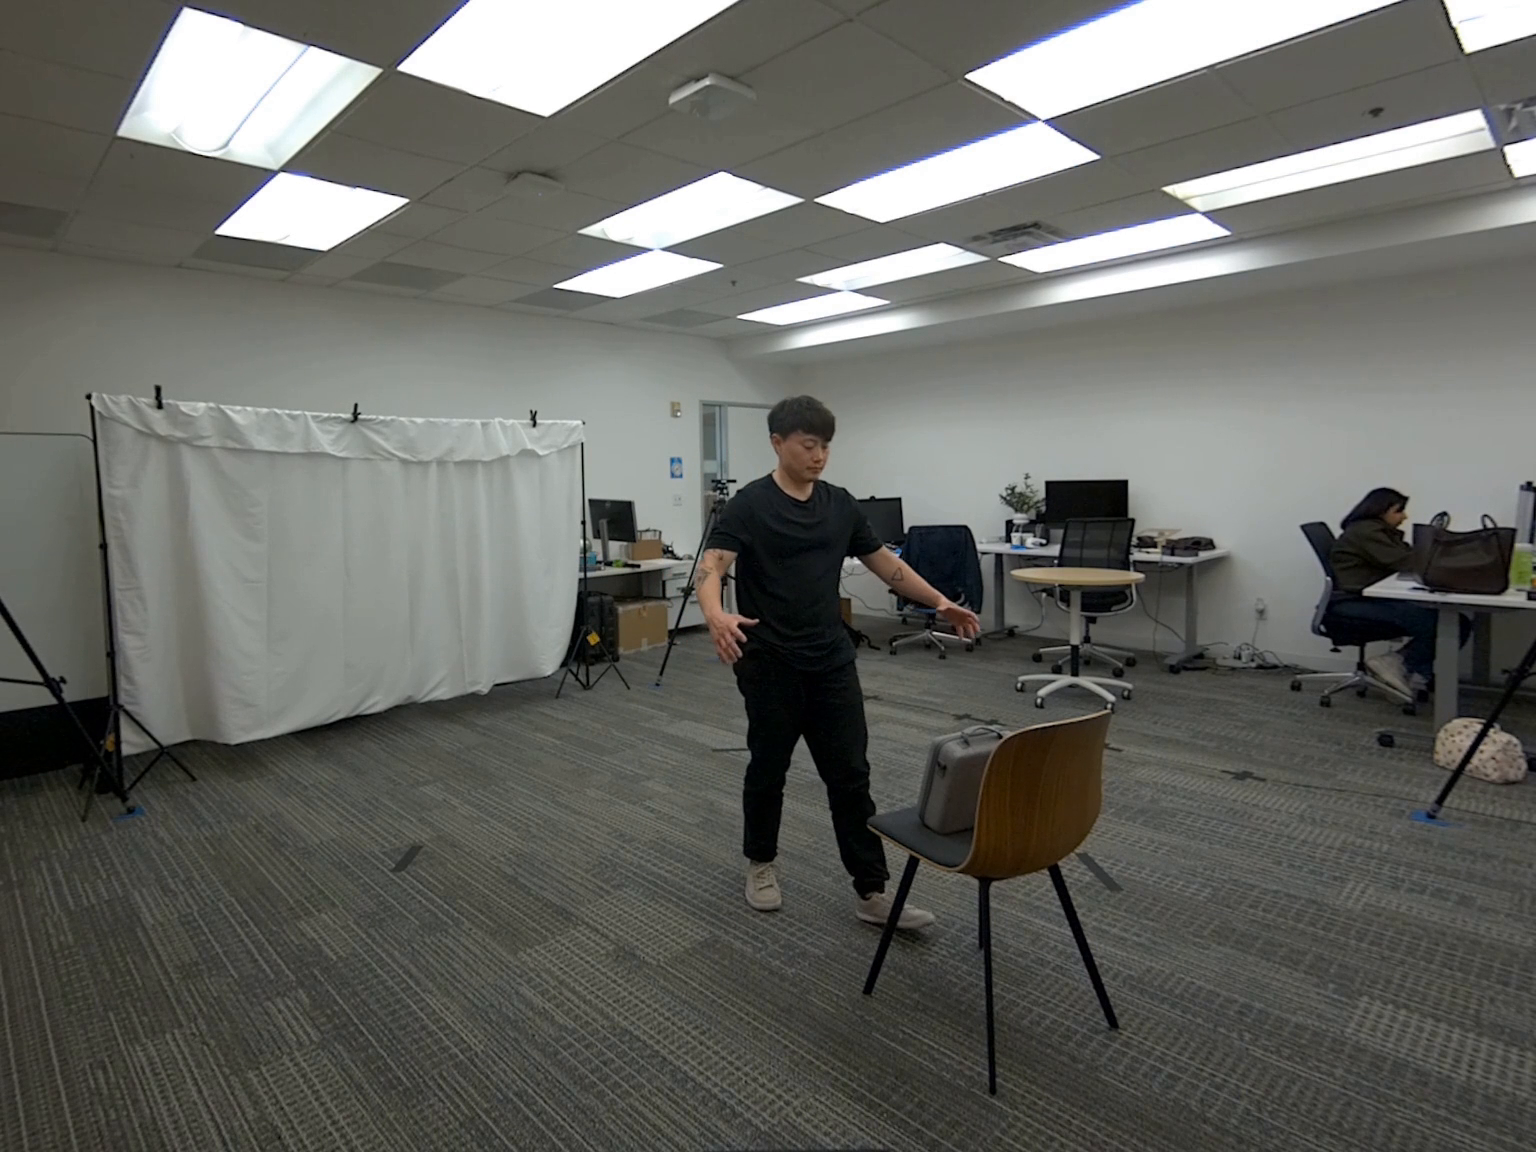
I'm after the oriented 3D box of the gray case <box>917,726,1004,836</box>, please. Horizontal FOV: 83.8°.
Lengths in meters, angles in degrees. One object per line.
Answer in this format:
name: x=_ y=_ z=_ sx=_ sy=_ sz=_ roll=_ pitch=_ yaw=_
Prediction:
gray case: x=0.537 y=0.526 z=2.232 sx=0.252 sy=0.257 sz=0.108 roll=-1 pitch=18 yaw=-22
